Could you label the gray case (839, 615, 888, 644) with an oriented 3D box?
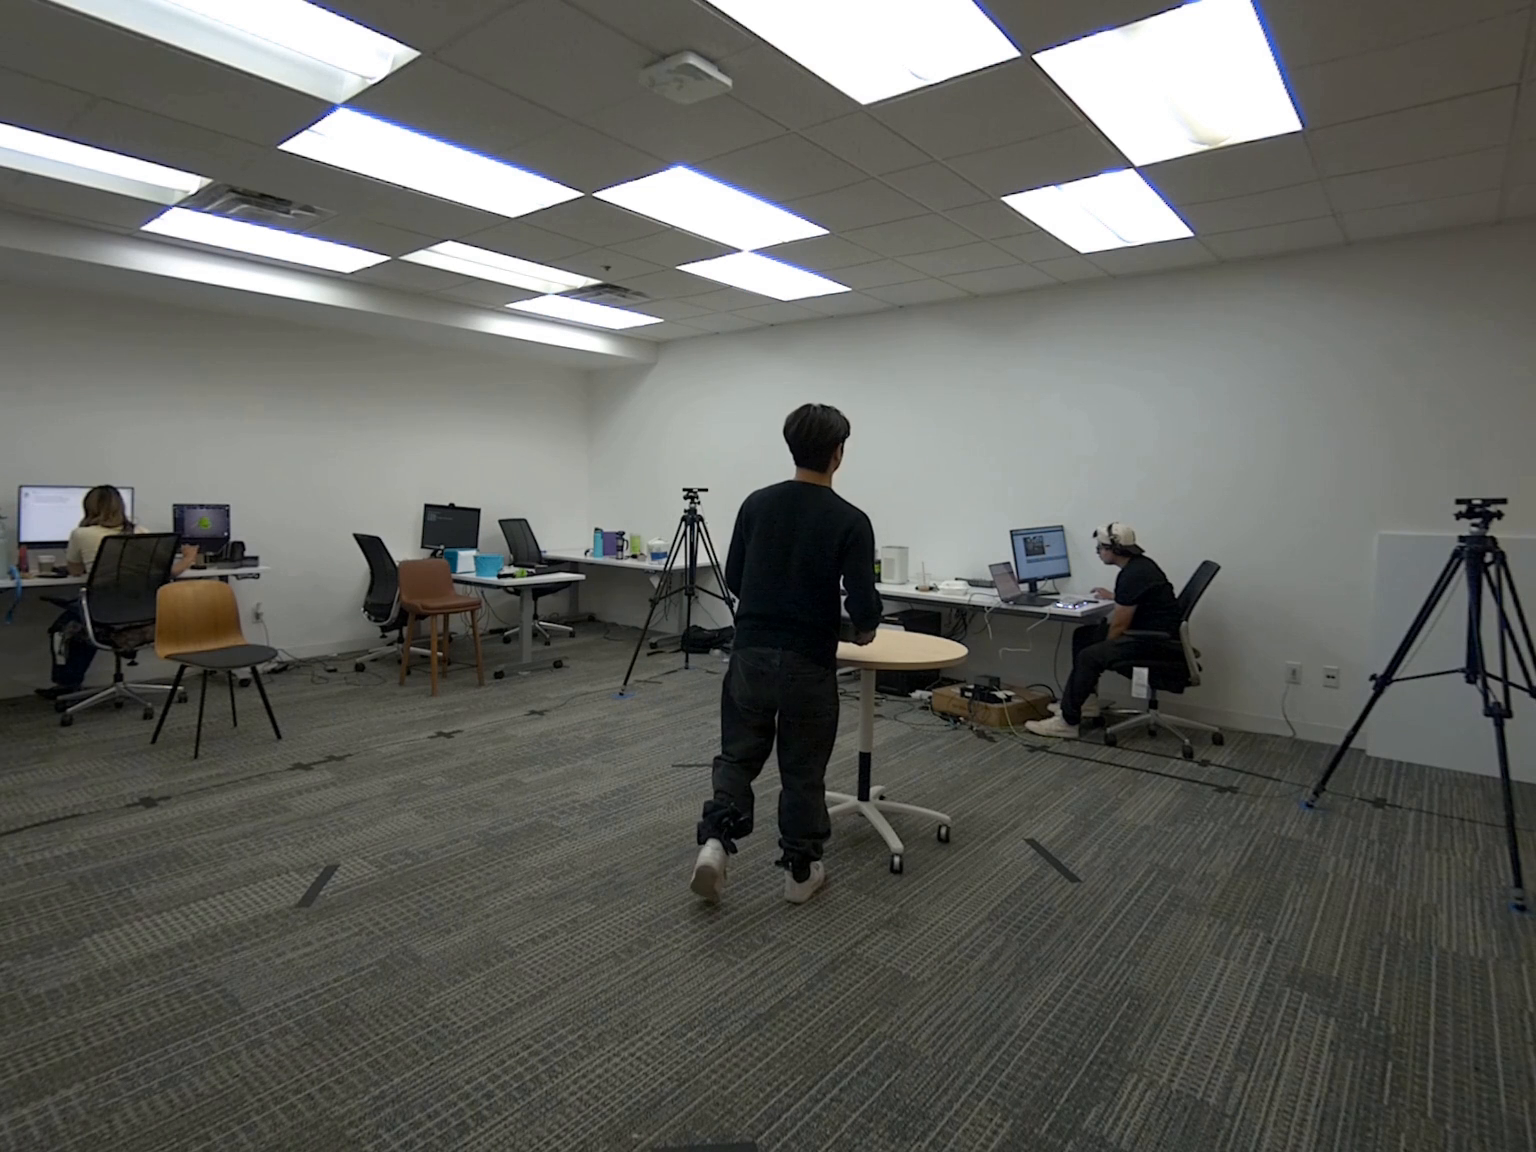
[{"bbox_3d":[0.237,0.150,3.081,0.264,0.103,0.255,8,12,27],"label":"gray case"}]
